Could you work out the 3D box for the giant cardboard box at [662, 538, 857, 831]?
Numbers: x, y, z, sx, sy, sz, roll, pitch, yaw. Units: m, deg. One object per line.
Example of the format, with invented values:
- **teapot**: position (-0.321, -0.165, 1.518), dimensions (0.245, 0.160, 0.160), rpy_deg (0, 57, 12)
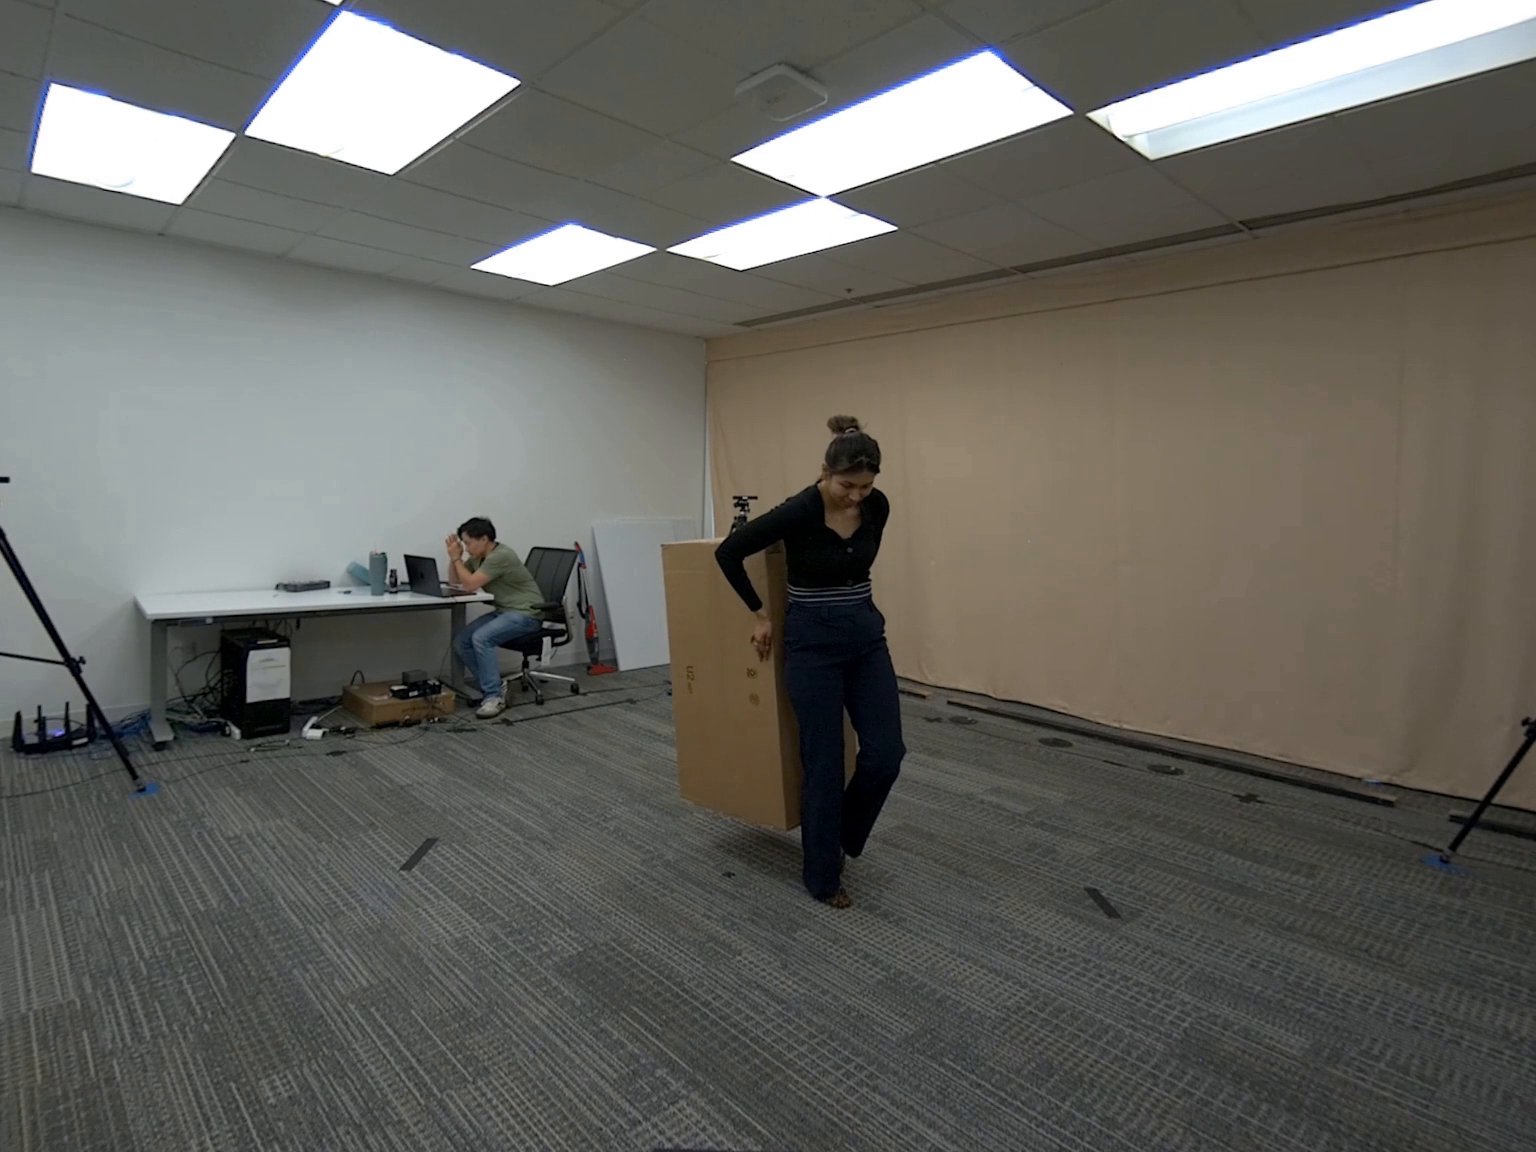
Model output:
- **giant cardboard box**: position (-0.045, 0.366, 3.274), dimensions (0.417, 1.024, 0.591), rpy_deg (-6, 3, -45)
